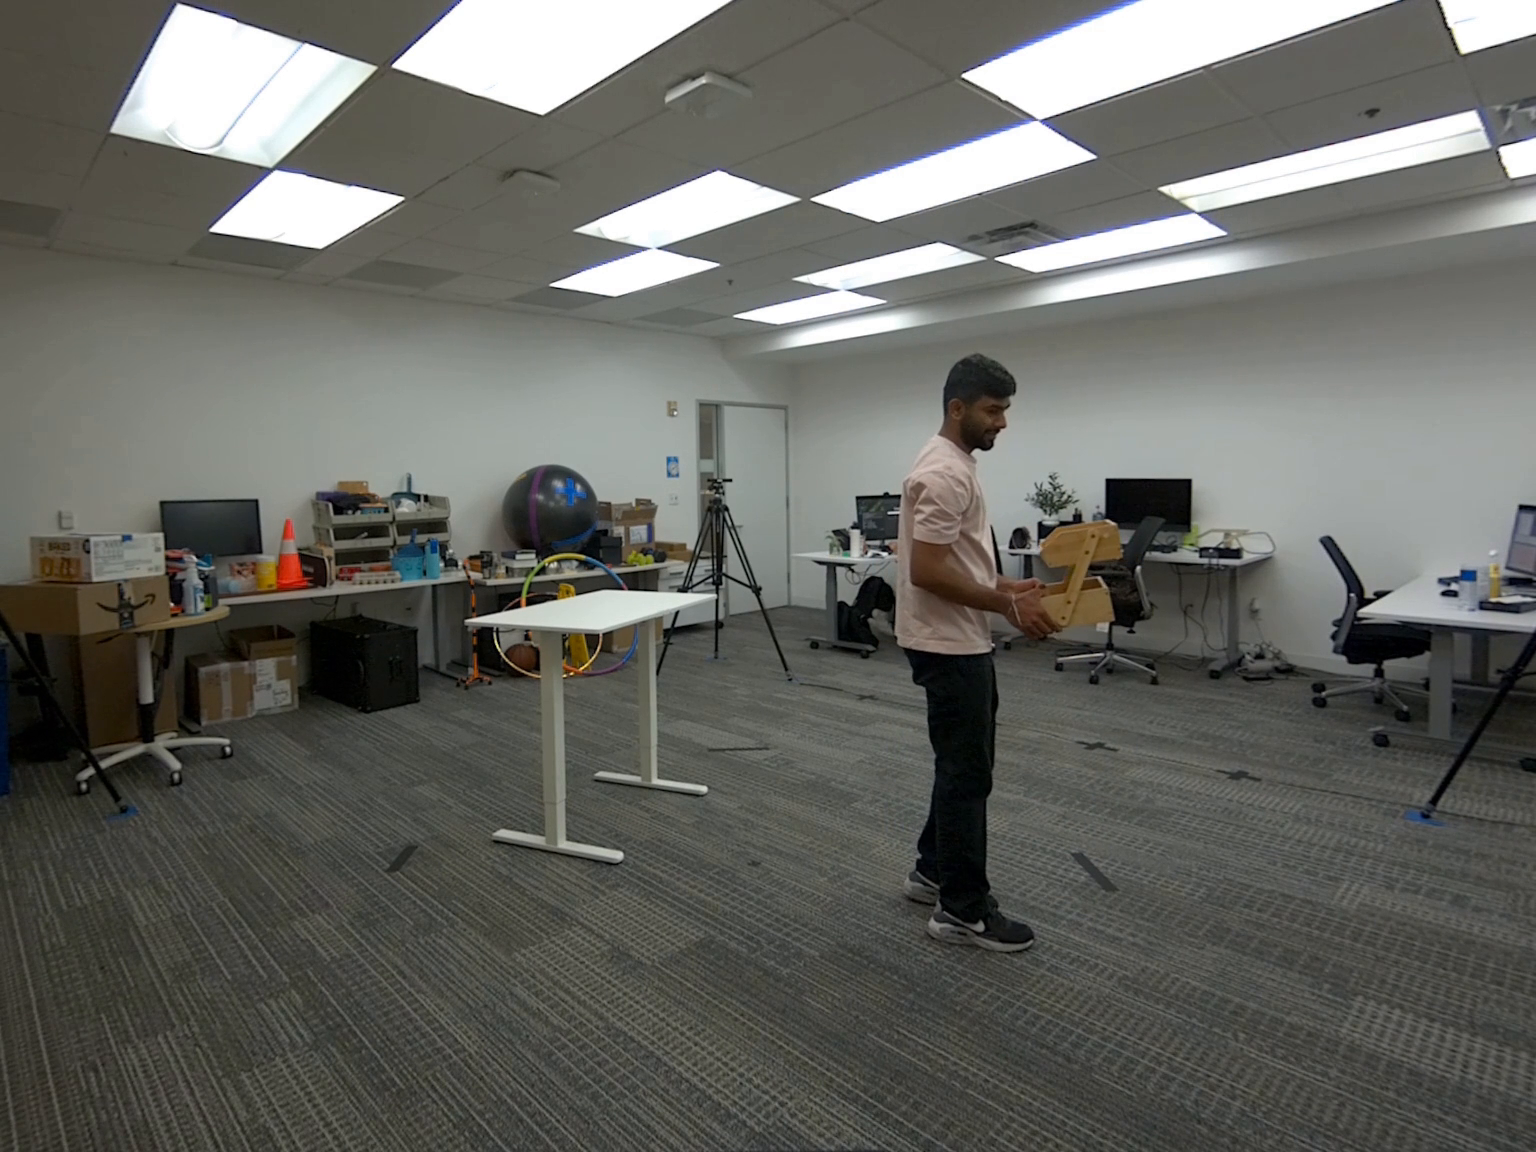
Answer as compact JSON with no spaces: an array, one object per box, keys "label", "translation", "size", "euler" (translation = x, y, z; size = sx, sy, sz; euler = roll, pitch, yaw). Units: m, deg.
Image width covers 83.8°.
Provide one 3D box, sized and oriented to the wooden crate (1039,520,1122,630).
[{"label":"wooden crate","translation":[0.867,-0.007,2.501],"size":[0.306,0.273,0.320],"euler":[-11,1,19]}]
